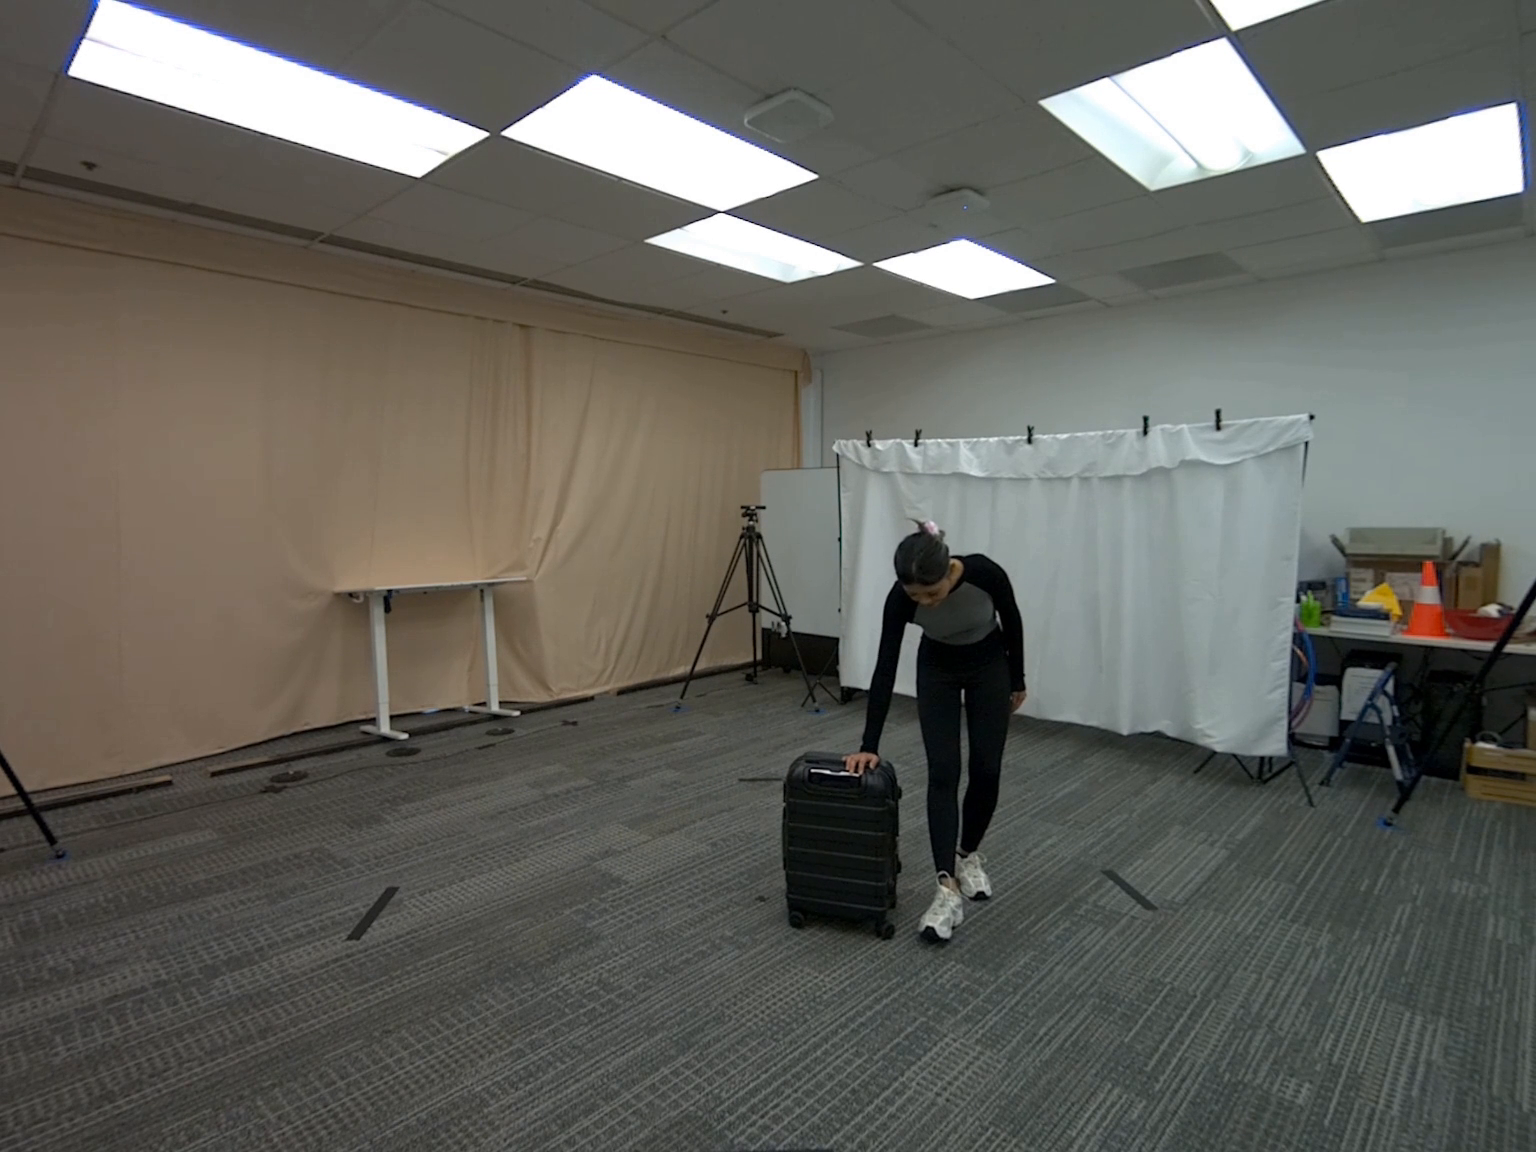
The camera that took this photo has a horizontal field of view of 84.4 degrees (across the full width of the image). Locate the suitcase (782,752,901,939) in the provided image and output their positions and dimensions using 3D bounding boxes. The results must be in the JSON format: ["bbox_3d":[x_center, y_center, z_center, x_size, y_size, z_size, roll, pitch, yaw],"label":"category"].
[{"bbox_3d":[0.253,0.884,2.837,0.382,0.548,0.244,0,3,16],"label":"suitcase"}]
